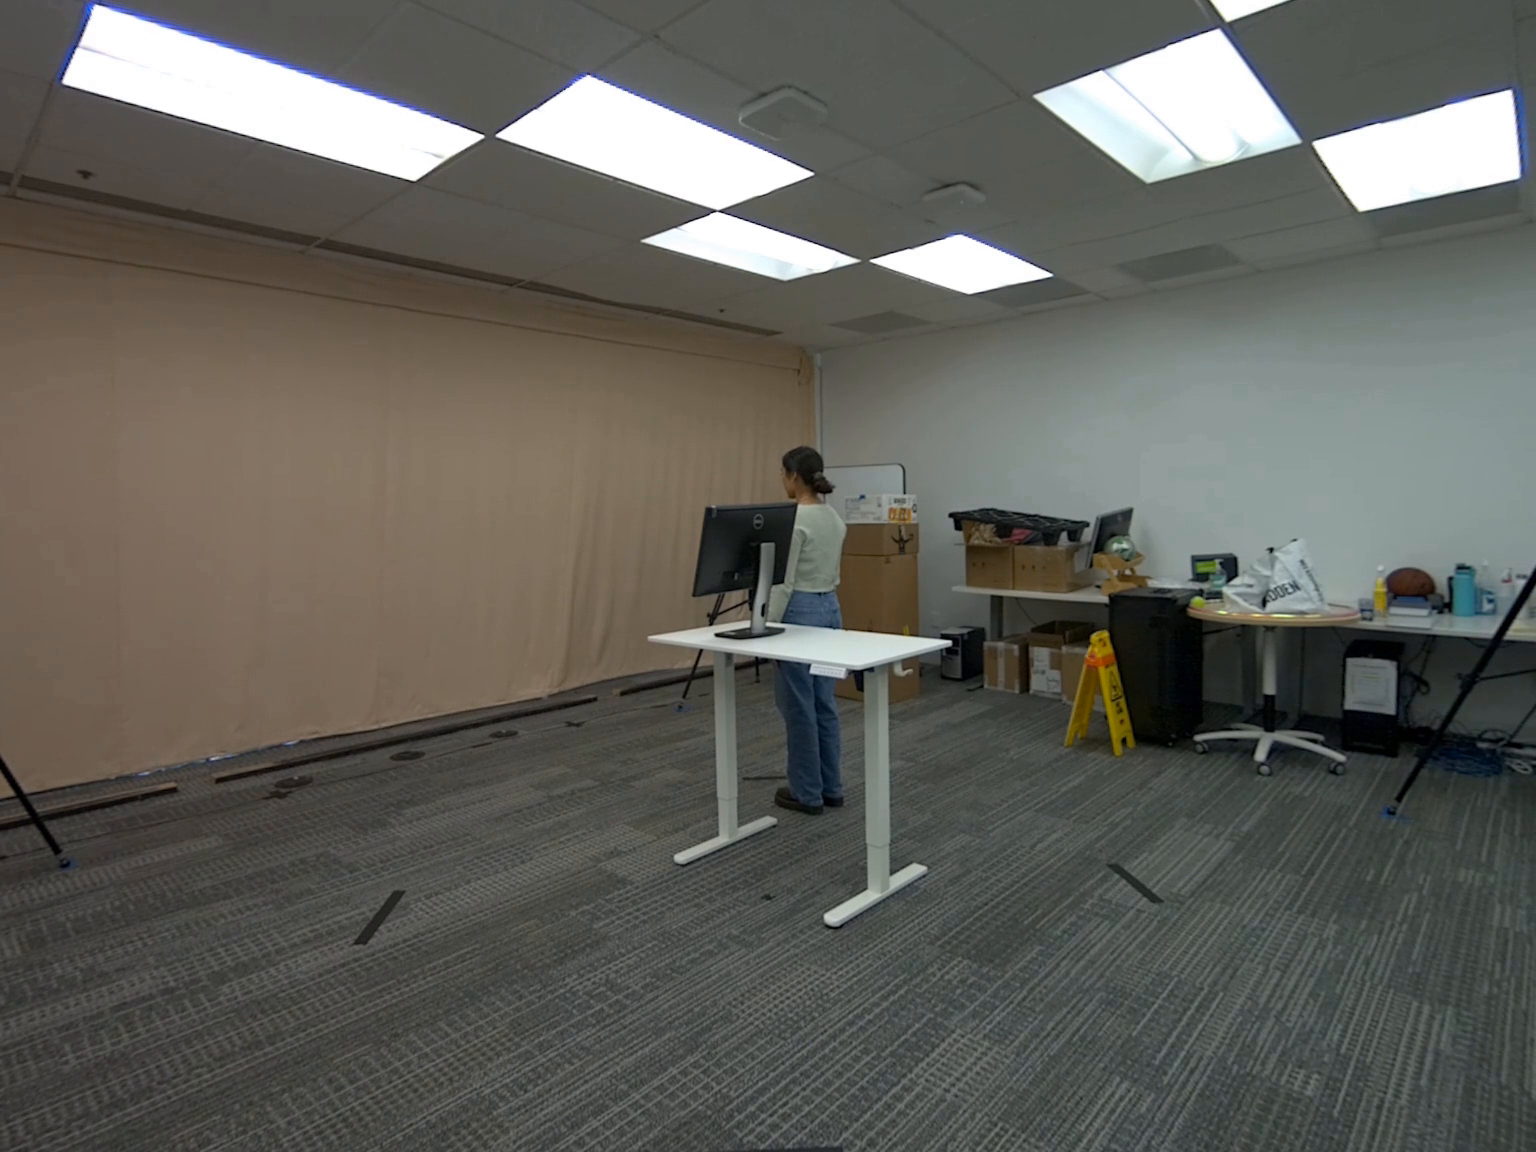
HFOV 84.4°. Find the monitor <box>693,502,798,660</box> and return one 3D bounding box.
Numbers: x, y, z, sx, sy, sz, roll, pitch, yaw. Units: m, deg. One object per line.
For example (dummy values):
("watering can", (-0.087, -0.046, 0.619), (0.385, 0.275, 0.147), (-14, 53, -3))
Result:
("monitor", (-0.055, -0.018, 3.296), (0.193, 0.521, 0.523), (5, 8, 41))
